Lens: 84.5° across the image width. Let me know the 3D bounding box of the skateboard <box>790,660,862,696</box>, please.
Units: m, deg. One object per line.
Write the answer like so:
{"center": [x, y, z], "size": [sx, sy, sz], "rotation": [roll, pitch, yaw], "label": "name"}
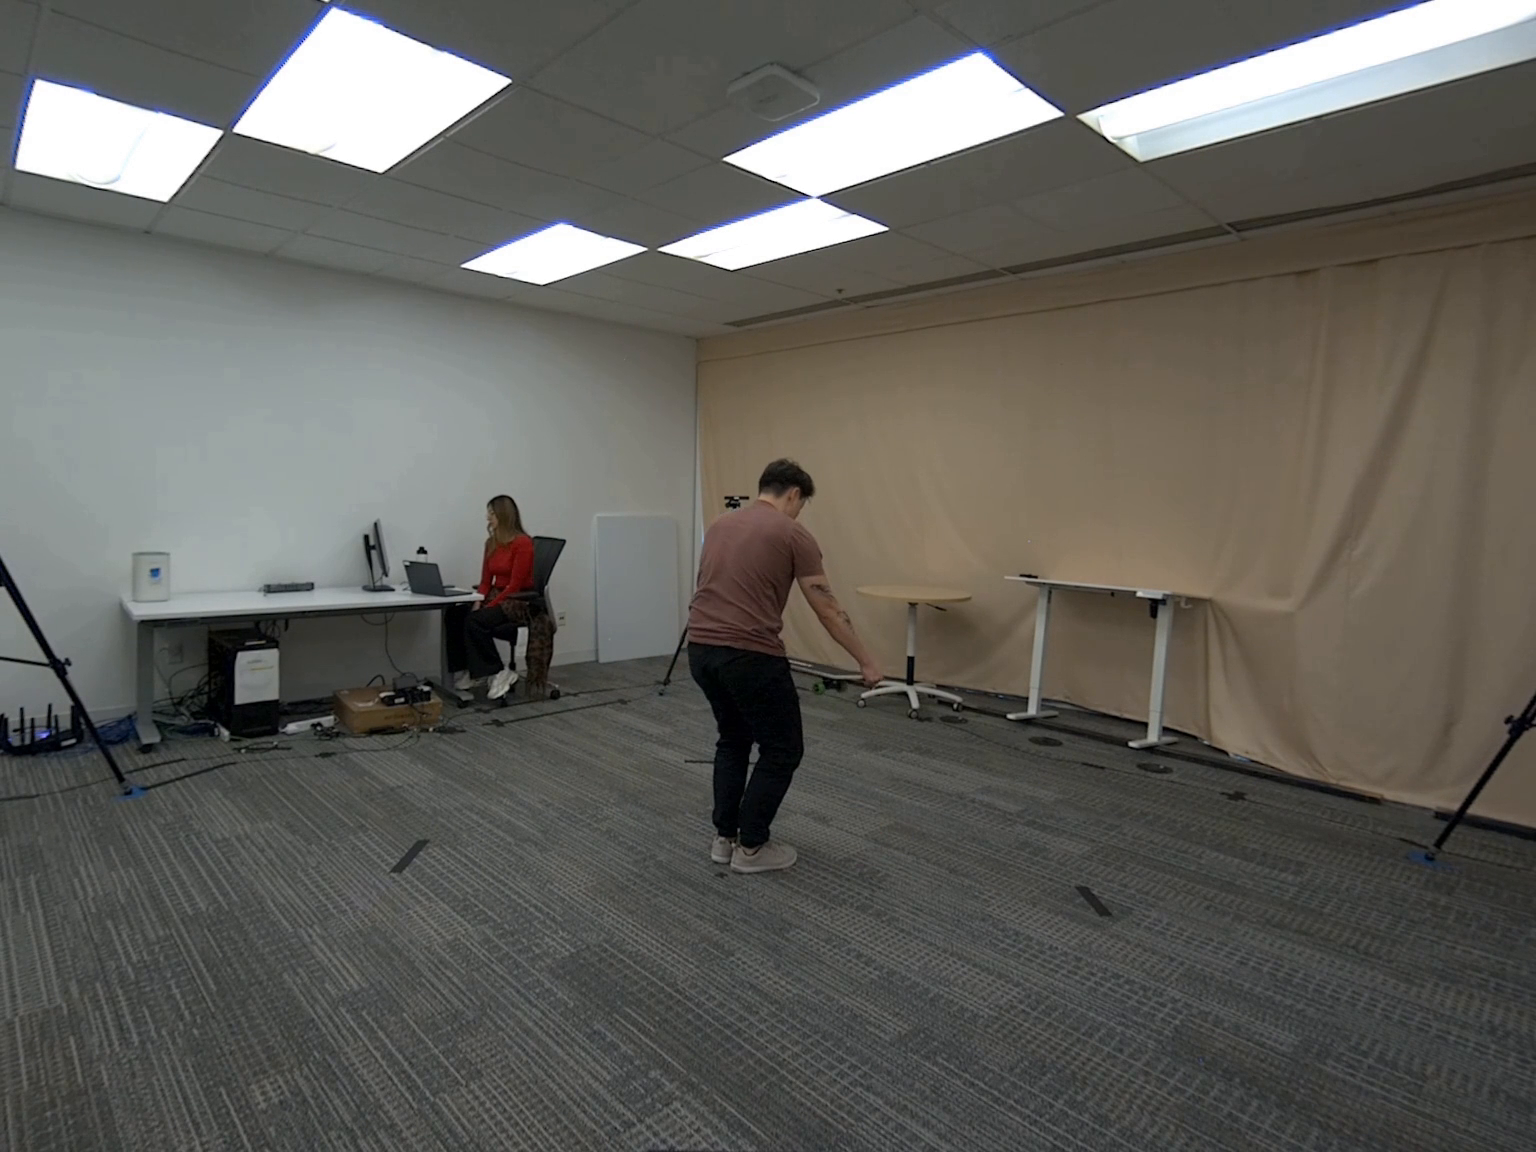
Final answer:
{"center": [0.090, 0.387, 3.413], "size": [0.806, 0.110, 0.188], "rotation": [8, 2, 42], "label": "skateboard"}
